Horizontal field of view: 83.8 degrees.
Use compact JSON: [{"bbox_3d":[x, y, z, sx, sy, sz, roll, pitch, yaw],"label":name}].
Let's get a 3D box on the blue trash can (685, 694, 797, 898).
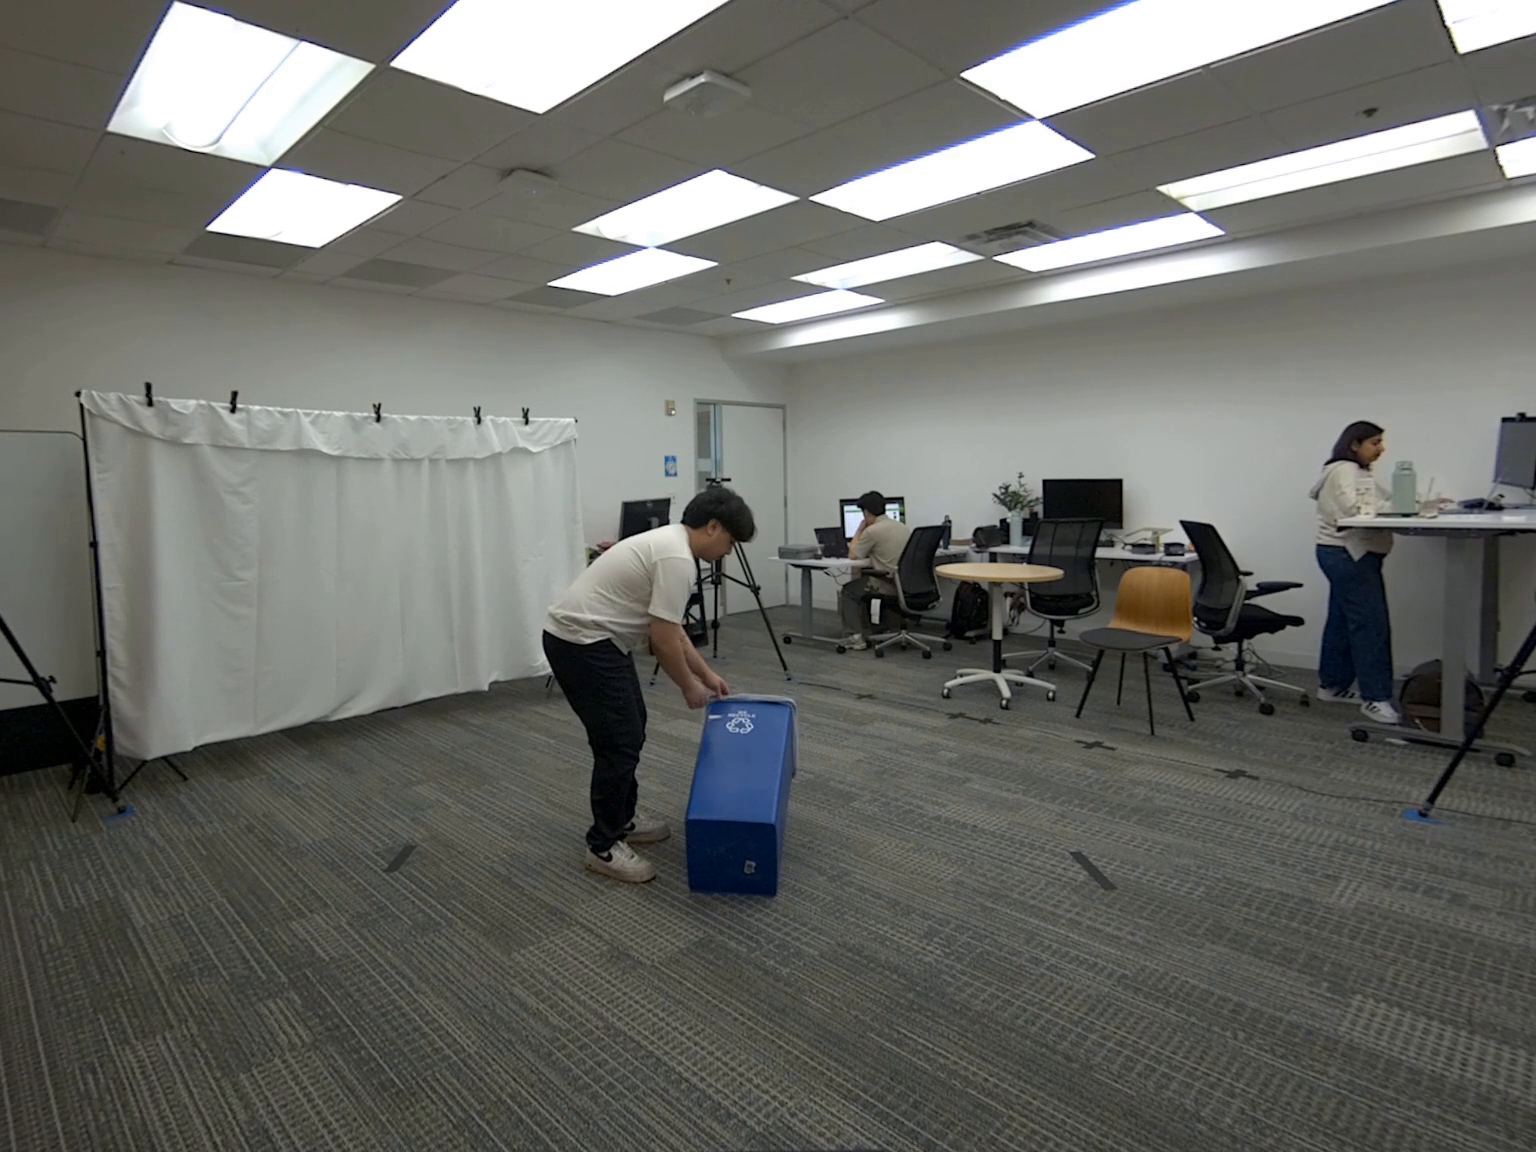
[{"bbox_3d":[-0.087,0.791,3.154,0.376,0.371,0.723,0,23,5],"label":"blue trash can"}]
